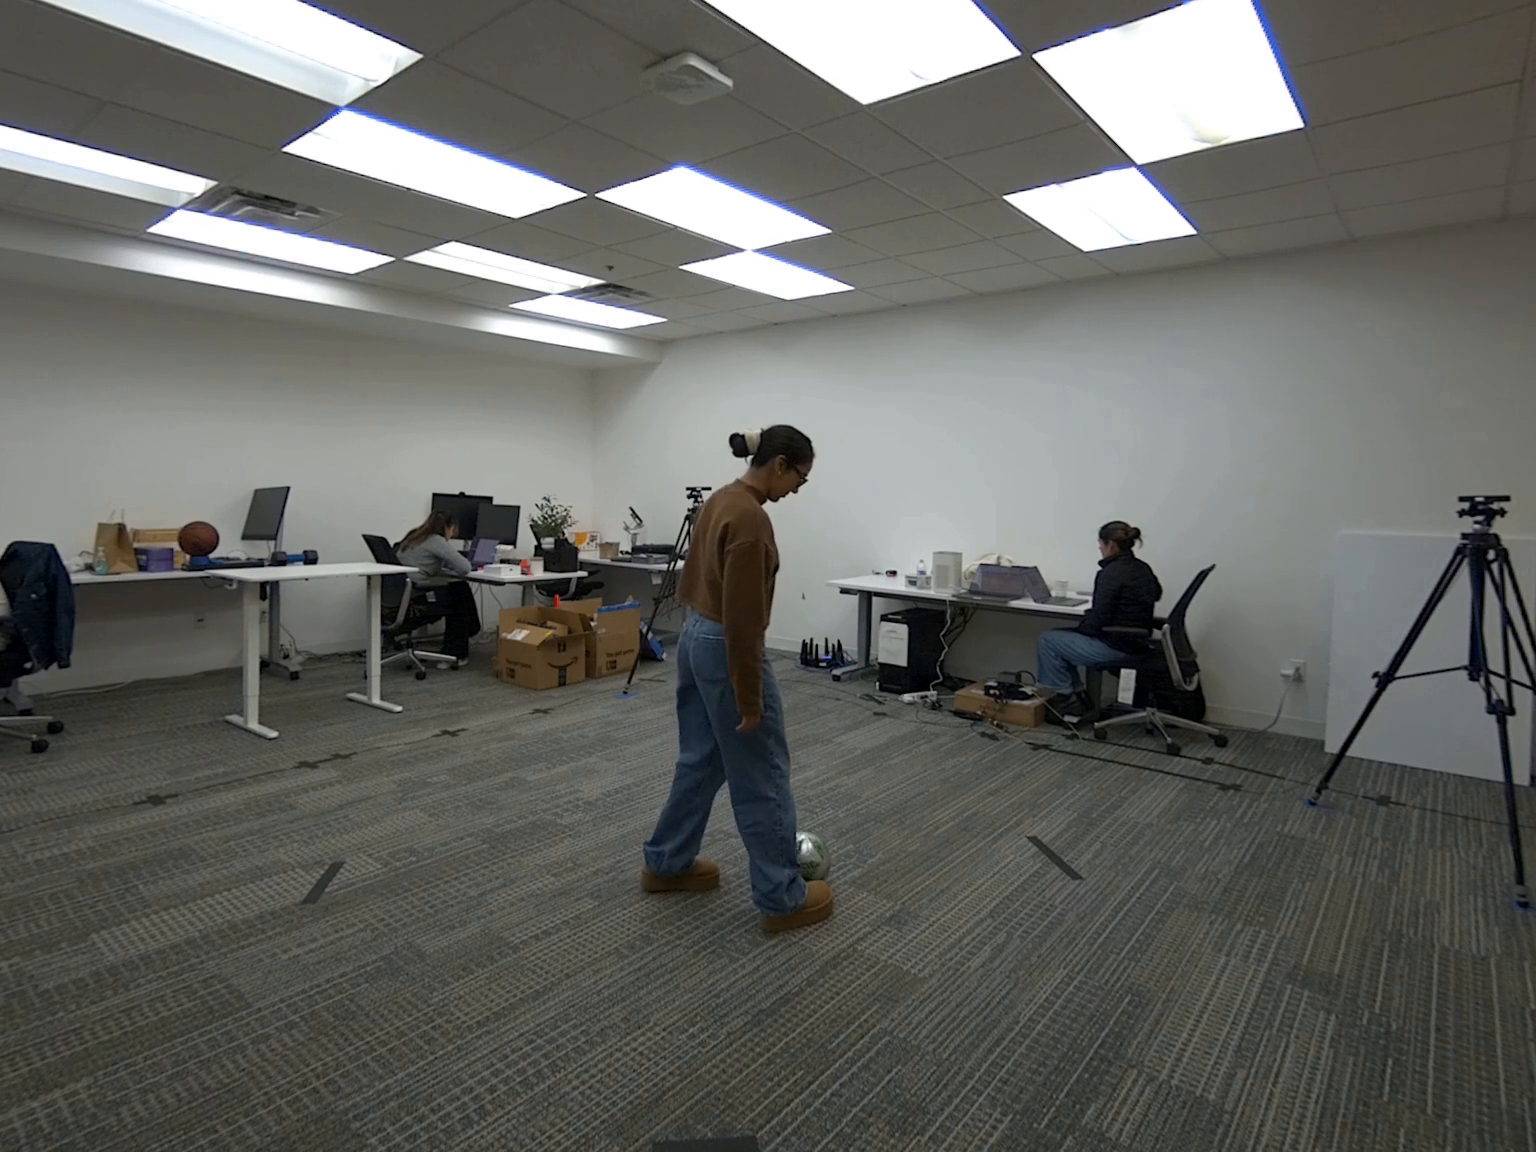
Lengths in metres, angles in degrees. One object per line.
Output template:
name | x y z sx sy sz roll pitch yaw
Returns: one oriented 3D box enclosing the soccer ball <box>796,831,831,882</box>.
soccer ball | 0.115 0.989 2.968 0.187 0.187 0.188 1 4 -2
